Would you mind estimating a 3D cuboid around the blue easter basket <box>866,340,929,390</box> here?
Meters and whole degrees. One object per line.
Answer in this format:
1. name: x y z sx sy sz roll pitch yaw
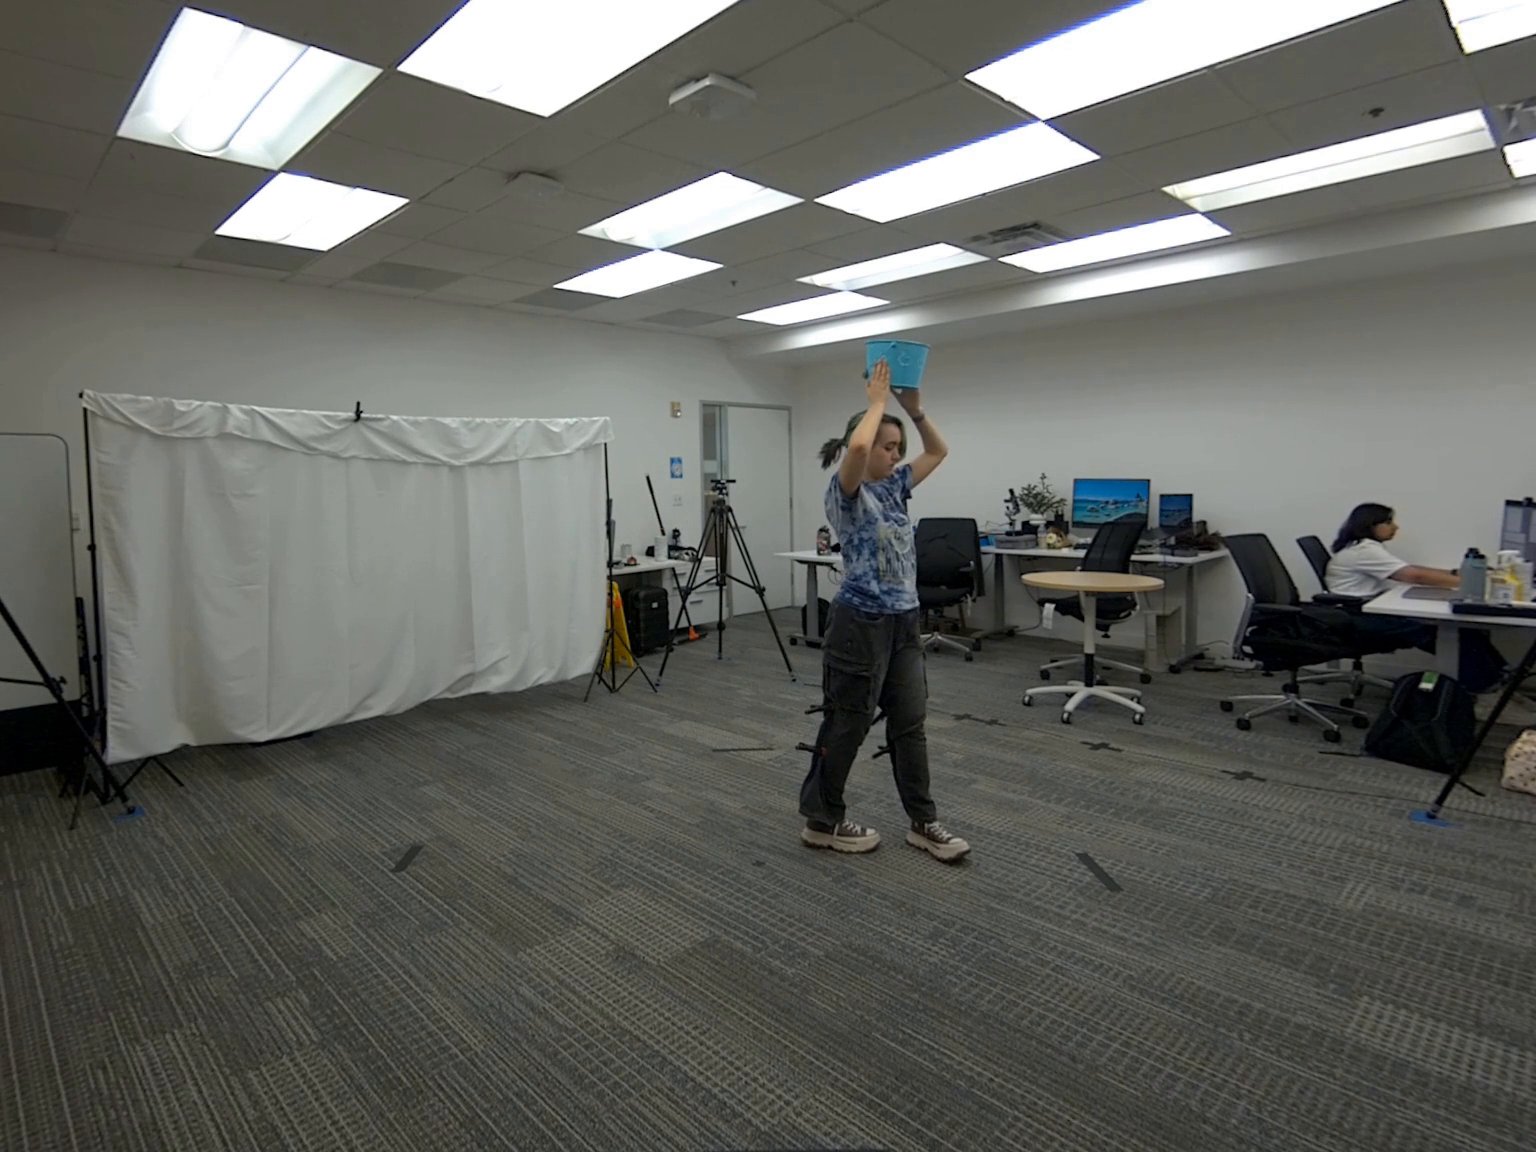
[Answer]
1. blue easter basket: 0.466 -0.770 3.093 0.243 0.155 0.246 1 9 -2
